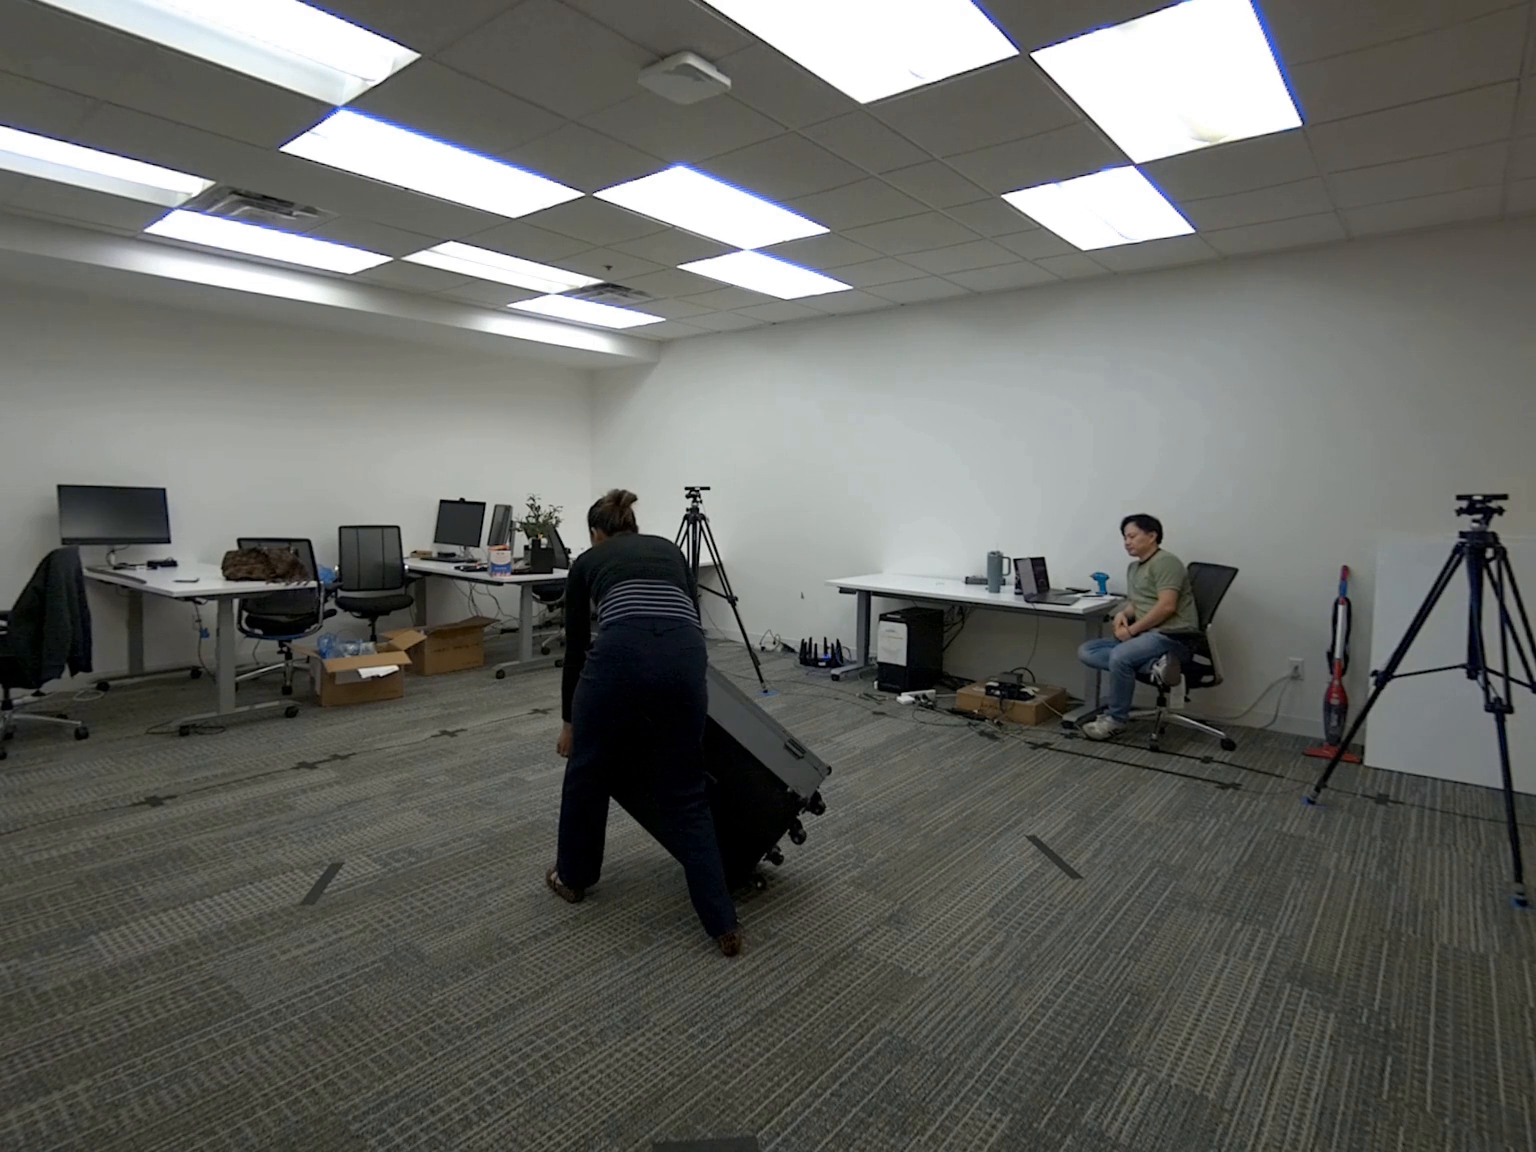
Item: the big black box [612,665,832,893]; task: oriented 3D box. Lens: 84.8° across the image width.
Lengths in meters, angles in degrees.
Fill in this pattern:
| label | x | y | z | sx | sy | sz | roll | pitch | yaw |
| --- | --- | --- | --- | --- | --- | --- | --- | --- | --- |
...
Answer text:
| label | x | y | z | sx | sy | sz | roll | pitch | yaw |
| --- | --- | --- | --- | --- | --- | --- | --- | --- | --- |
| big black box | -0.240 | 0.664 | 3.026 | 0.879 | 0.520 | 0.389 | 39 | 16 | 14 |
